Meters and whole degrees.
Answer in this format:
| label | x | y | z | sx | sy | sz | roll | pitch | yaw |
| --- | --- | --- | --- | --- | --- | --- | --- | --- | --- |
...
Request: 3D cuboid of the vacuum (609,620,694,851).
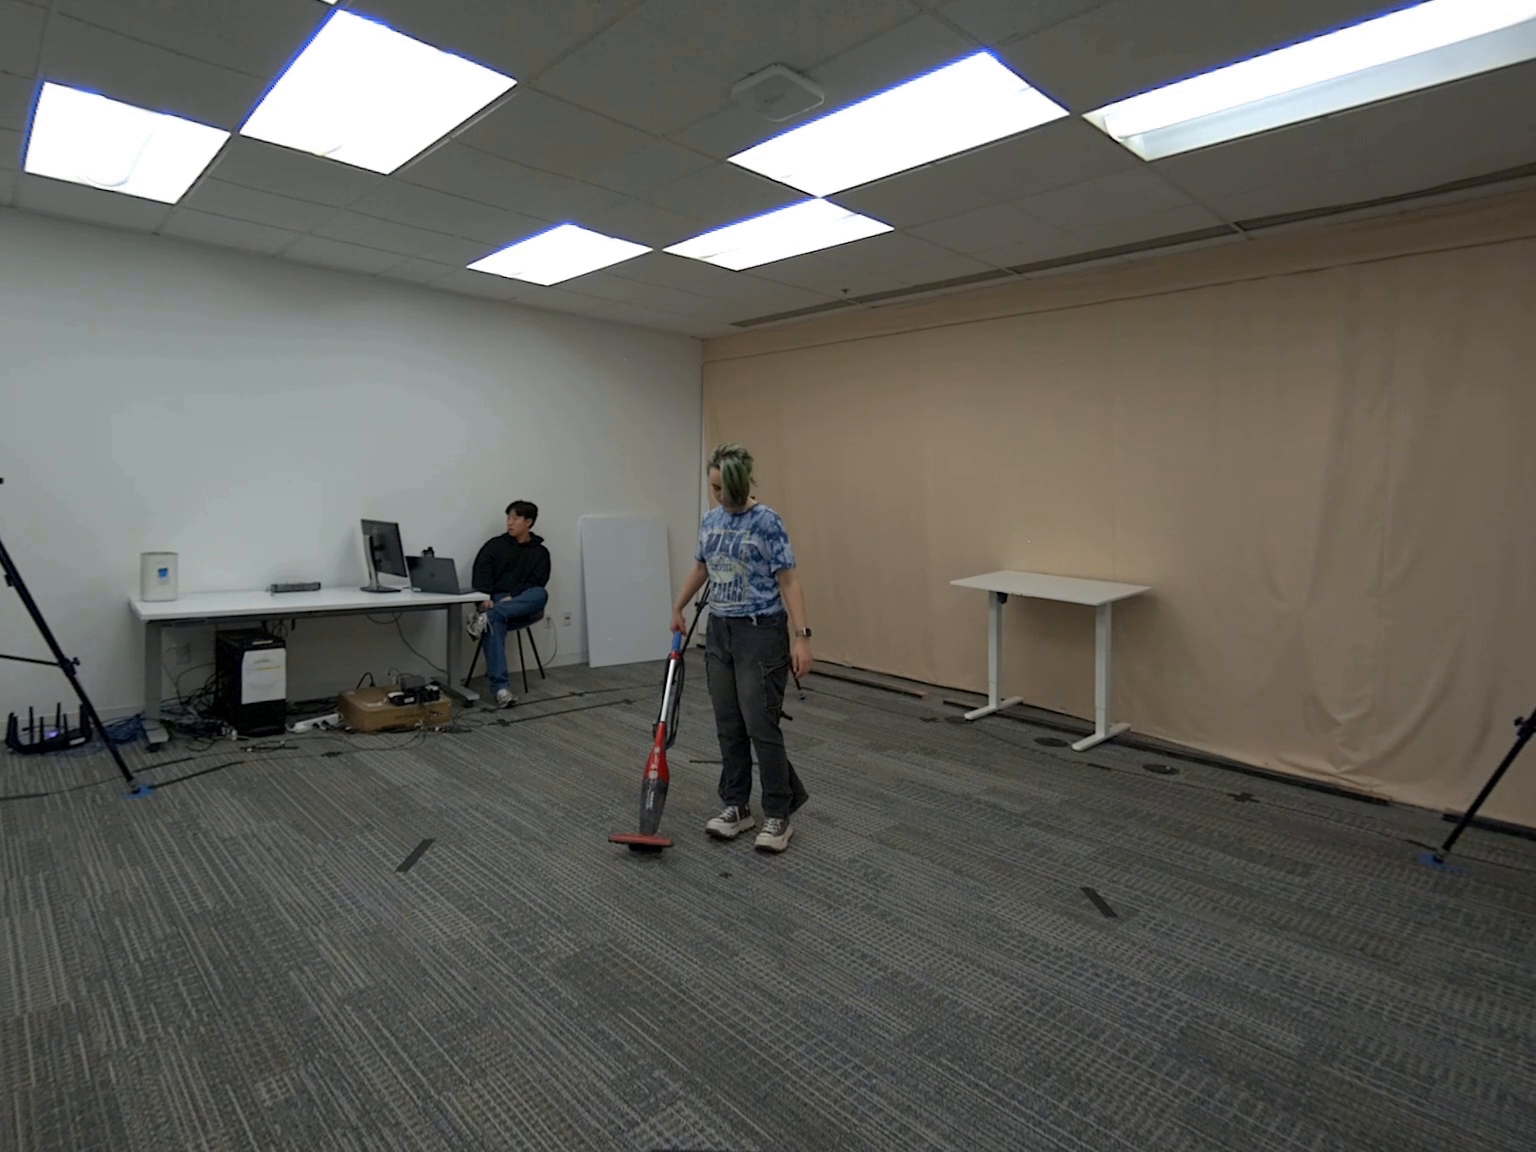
| label | x | y | z | sx | sy | sz | roll | pitch | yaw |
| --- | --- | --- | --- | --- | --- | --- | --- | --- | --- |
| vacuum | -0.451 | 0.642 | 3.576 | 0.254 | 1.069 | 0.140 | 0 | -39 | 7 |
